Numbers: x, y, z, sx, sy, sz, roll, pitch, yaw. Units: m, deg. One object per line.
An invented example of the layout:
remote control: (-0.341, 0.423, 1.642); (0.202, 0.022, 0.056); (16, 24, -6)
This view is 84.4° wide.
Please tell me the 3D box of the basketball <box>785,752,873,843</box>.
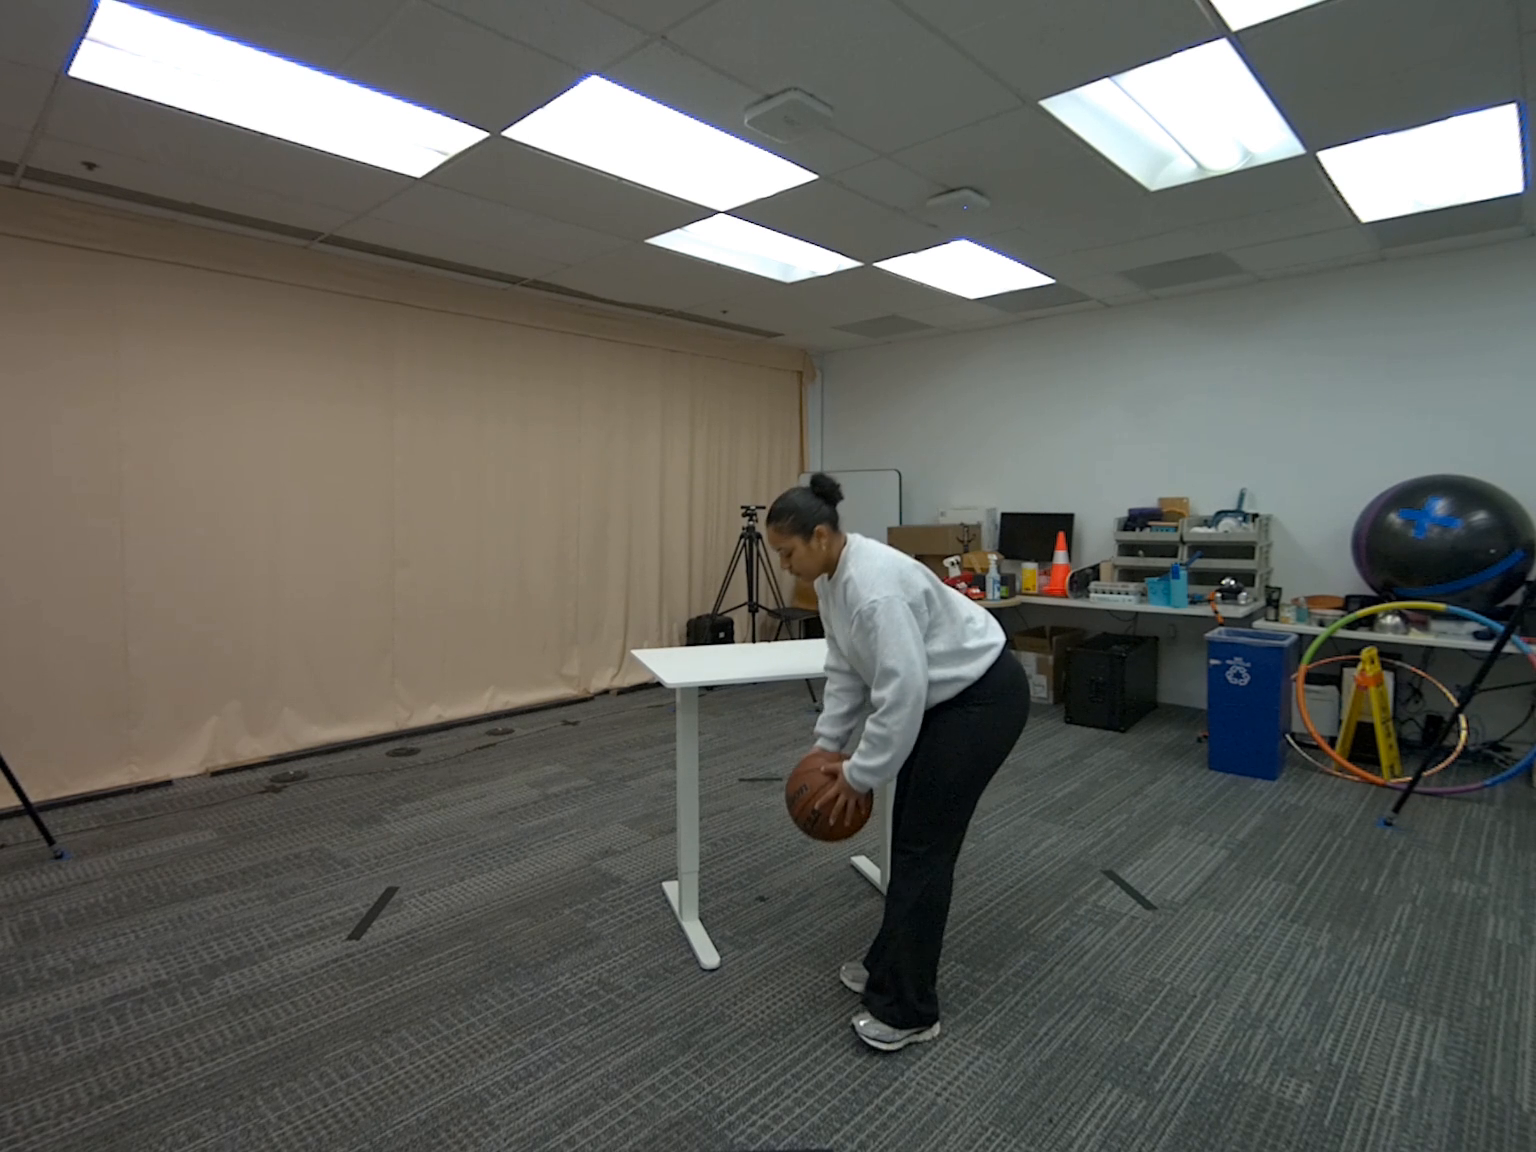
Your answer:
basketball: (0.174, 0.593, 2.297); (0.236, 0.235, 0.237); (0, 4, -2)
